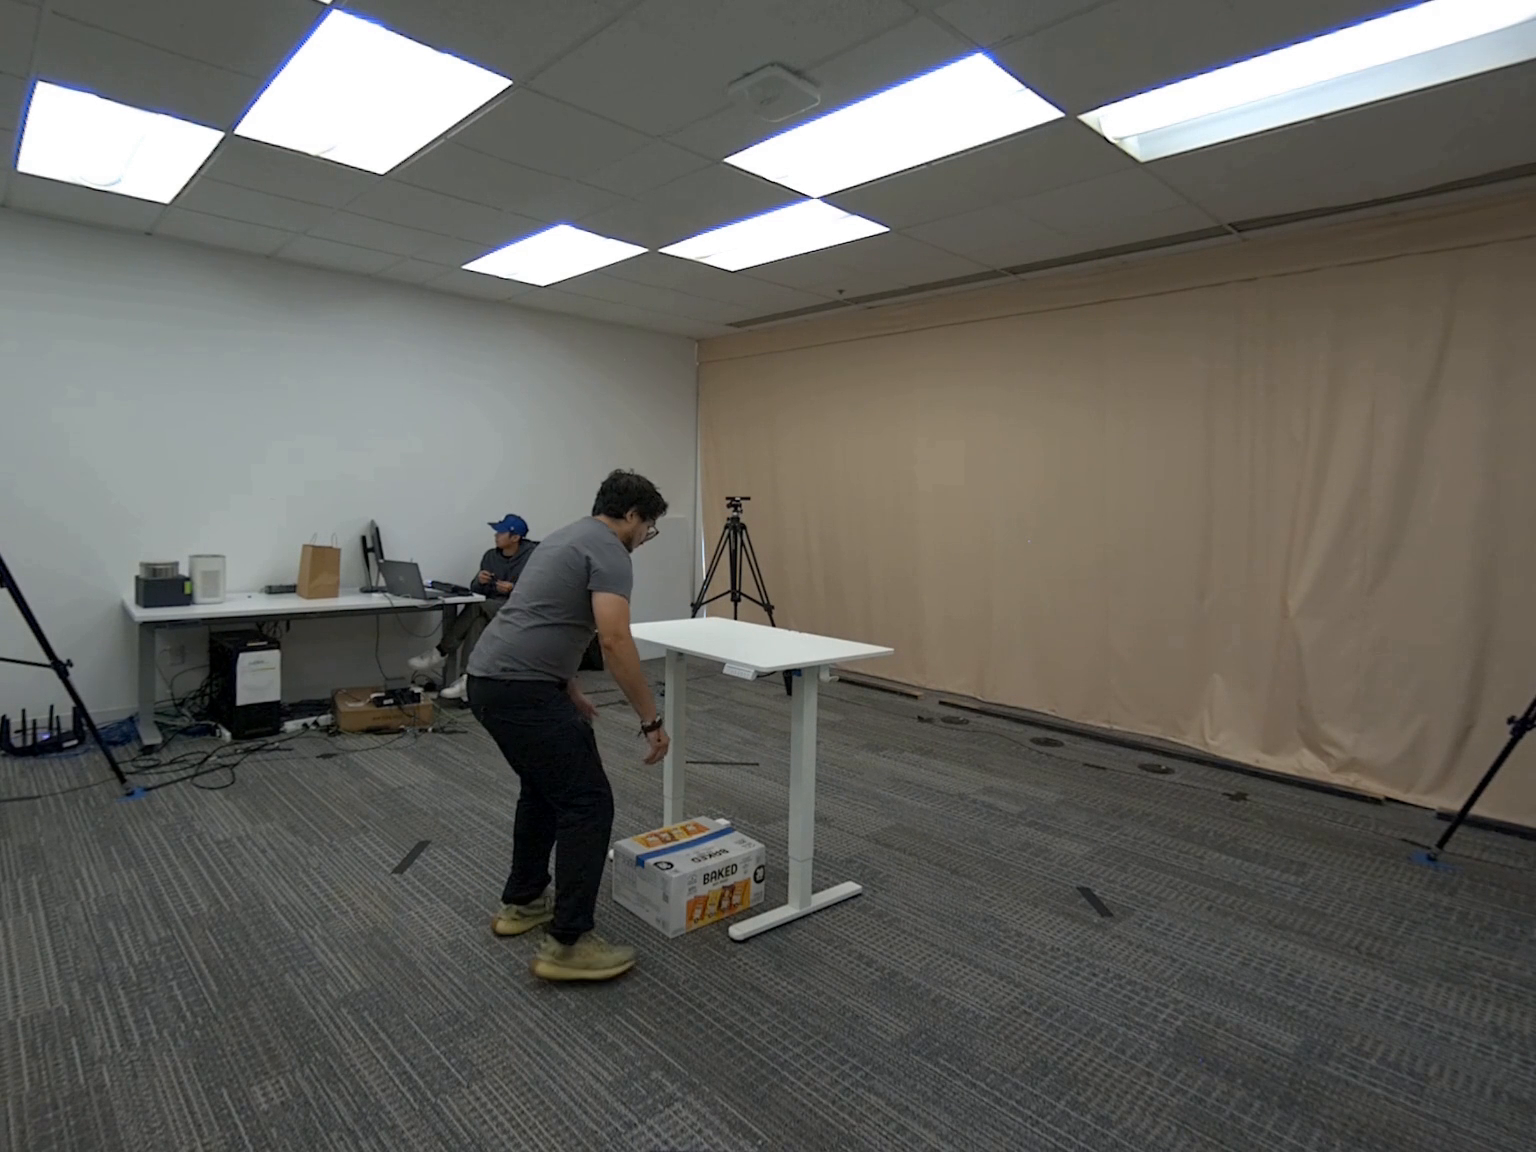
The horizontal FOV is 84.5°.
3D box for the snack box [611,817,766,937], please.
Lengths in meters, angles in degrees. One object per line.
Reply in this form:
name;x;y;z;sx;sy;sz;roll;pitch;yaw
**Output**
snack box;-0.276;1.025;2.891;0.396;0.205;0.349;-3;6;-42
